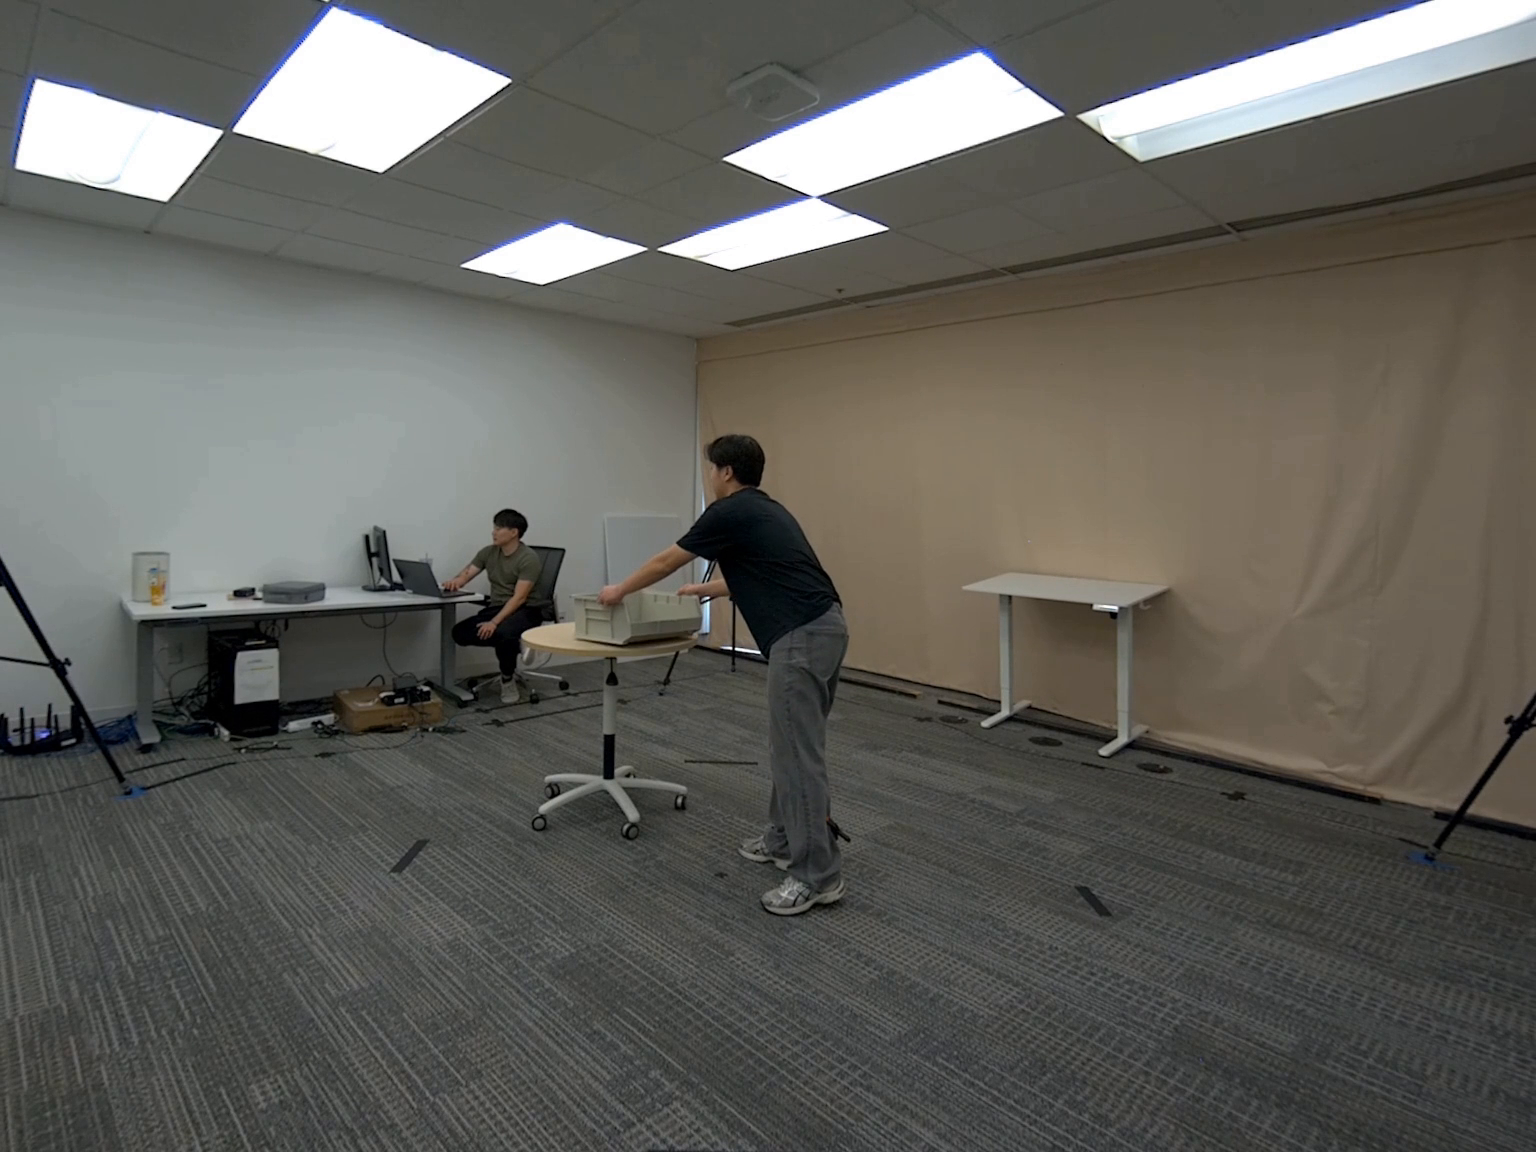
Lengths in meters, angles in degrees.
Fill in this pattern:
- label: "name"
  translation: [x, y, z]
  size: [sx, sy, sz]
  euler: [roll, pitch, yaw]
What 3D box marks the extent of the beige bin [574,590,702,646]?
- label: "beige bin"
  translation: [-0.563, 0.171, 3.583]
  size: [0.386, 0.188, 0.413]
  euler: [3, 5, 40]
